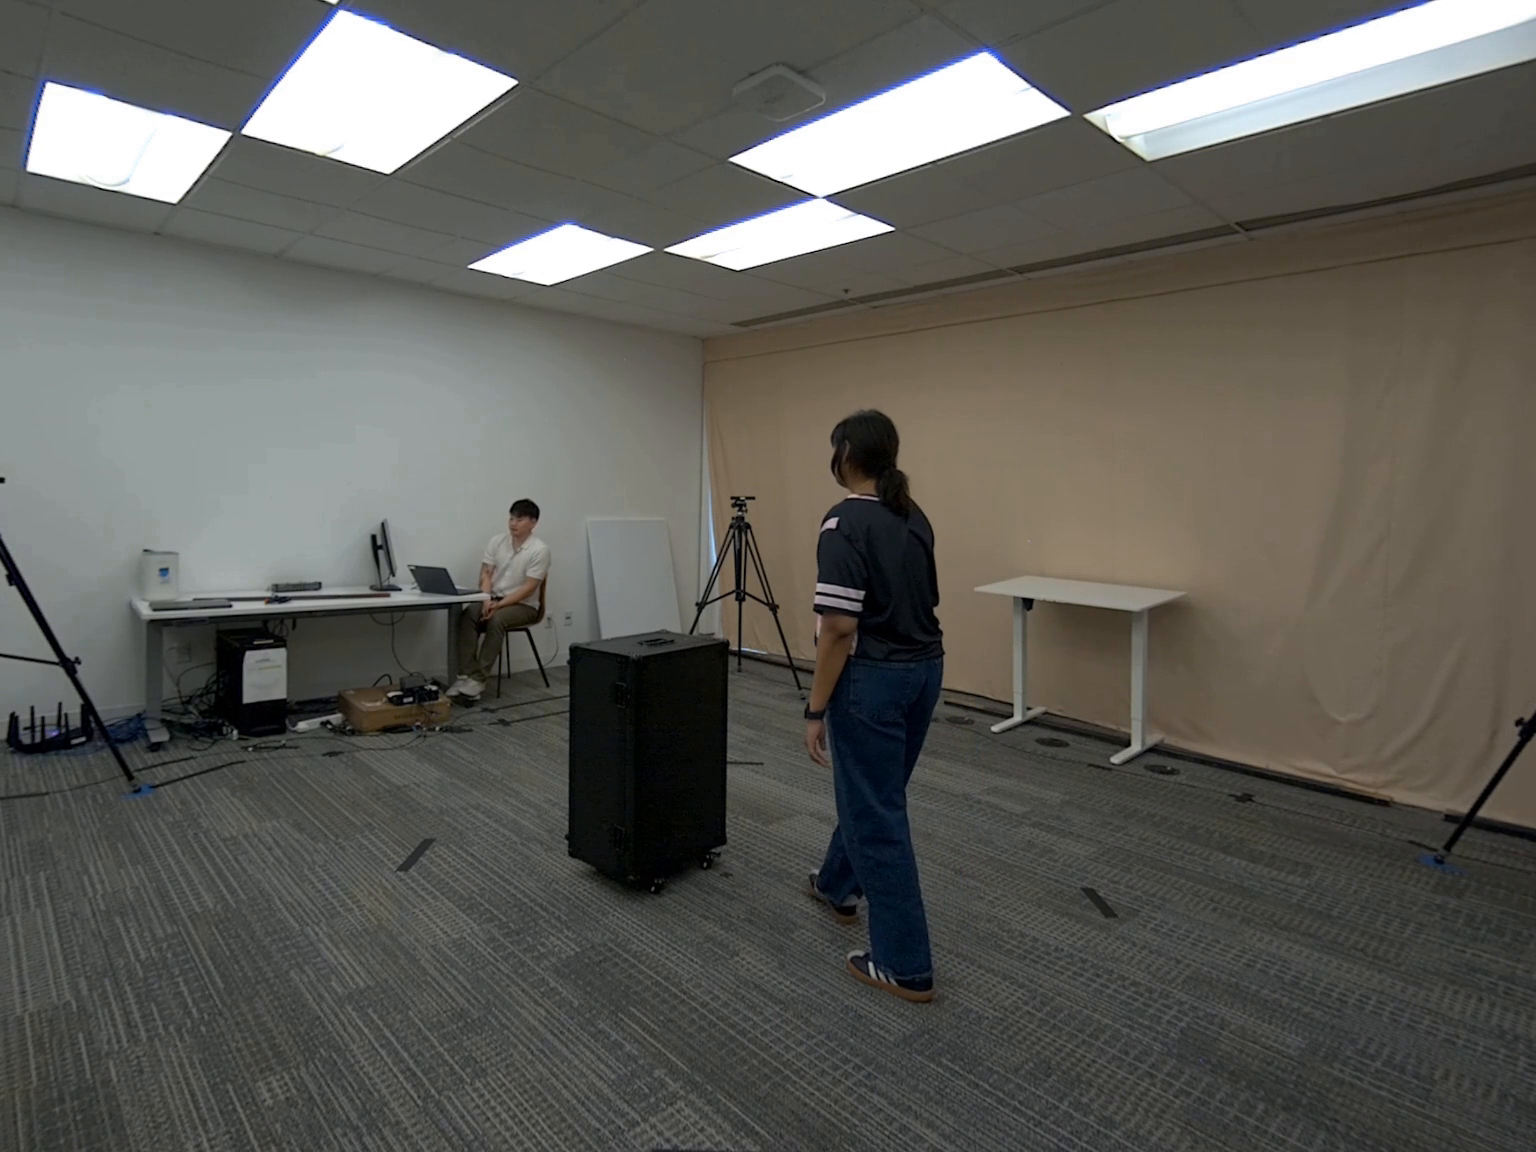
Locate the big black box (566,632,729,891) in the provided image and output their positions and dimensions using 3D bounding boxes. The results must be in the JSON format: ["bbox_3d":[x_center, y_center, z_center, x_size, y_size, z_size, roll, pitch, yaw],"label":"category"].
[{"bbox_3d":[-0.454,0.673,3.127,0.395,0.867,0.512,3,4,39],"label":"big black box"}]
